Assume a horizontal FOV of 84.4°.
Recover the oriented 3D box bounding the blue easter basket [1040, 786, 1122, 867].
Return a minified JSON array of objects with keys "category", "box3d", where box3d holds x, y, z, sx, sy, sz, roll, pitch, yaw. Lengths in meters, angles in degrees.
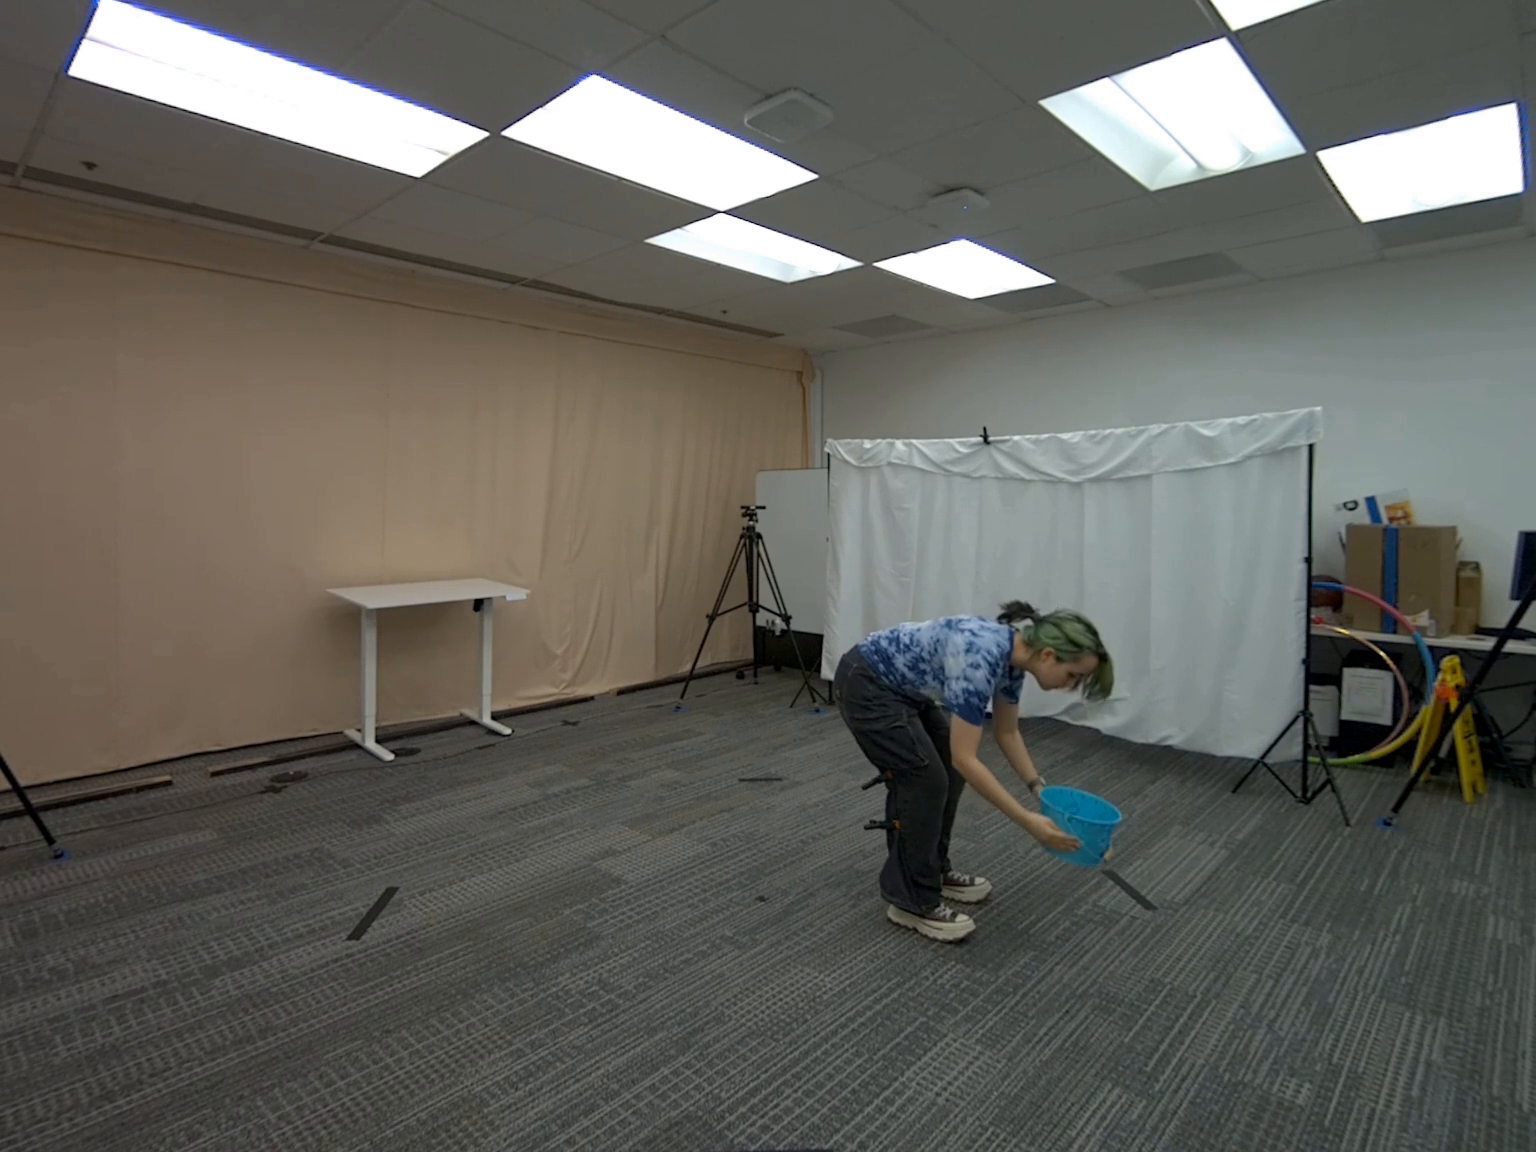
[{"category":"blue easter basket","box3d":[0.948,0.736,2.558,0.243,0.155,0.245,4,6,-2]}]
